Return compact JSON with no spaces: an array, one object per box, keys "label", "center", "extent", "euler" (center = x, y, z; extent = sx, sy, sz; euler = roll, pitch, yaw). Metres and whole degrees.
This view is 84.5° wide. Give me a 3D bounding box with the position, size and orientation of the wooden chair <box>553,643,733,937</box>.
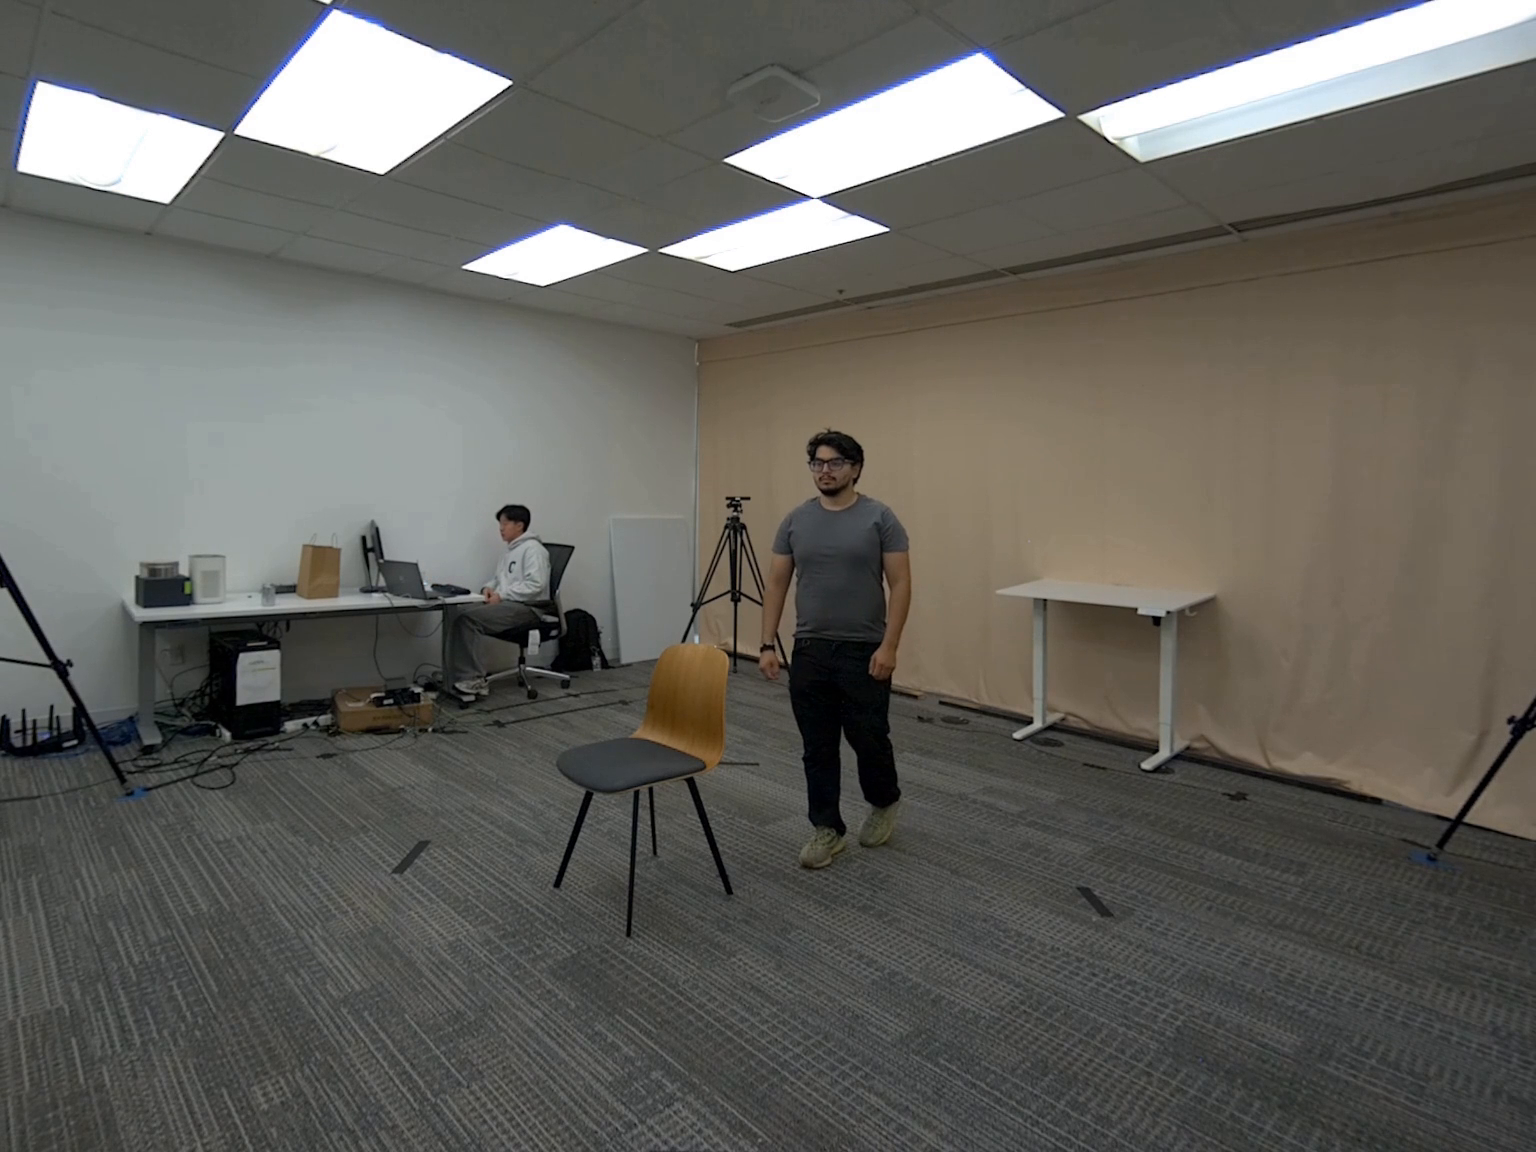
[{"label":"wooden chair","center":[-0.441,0.690,2.930],"extent":[0.510,0.877,0.490],"euler":[4,0,-44]}]
